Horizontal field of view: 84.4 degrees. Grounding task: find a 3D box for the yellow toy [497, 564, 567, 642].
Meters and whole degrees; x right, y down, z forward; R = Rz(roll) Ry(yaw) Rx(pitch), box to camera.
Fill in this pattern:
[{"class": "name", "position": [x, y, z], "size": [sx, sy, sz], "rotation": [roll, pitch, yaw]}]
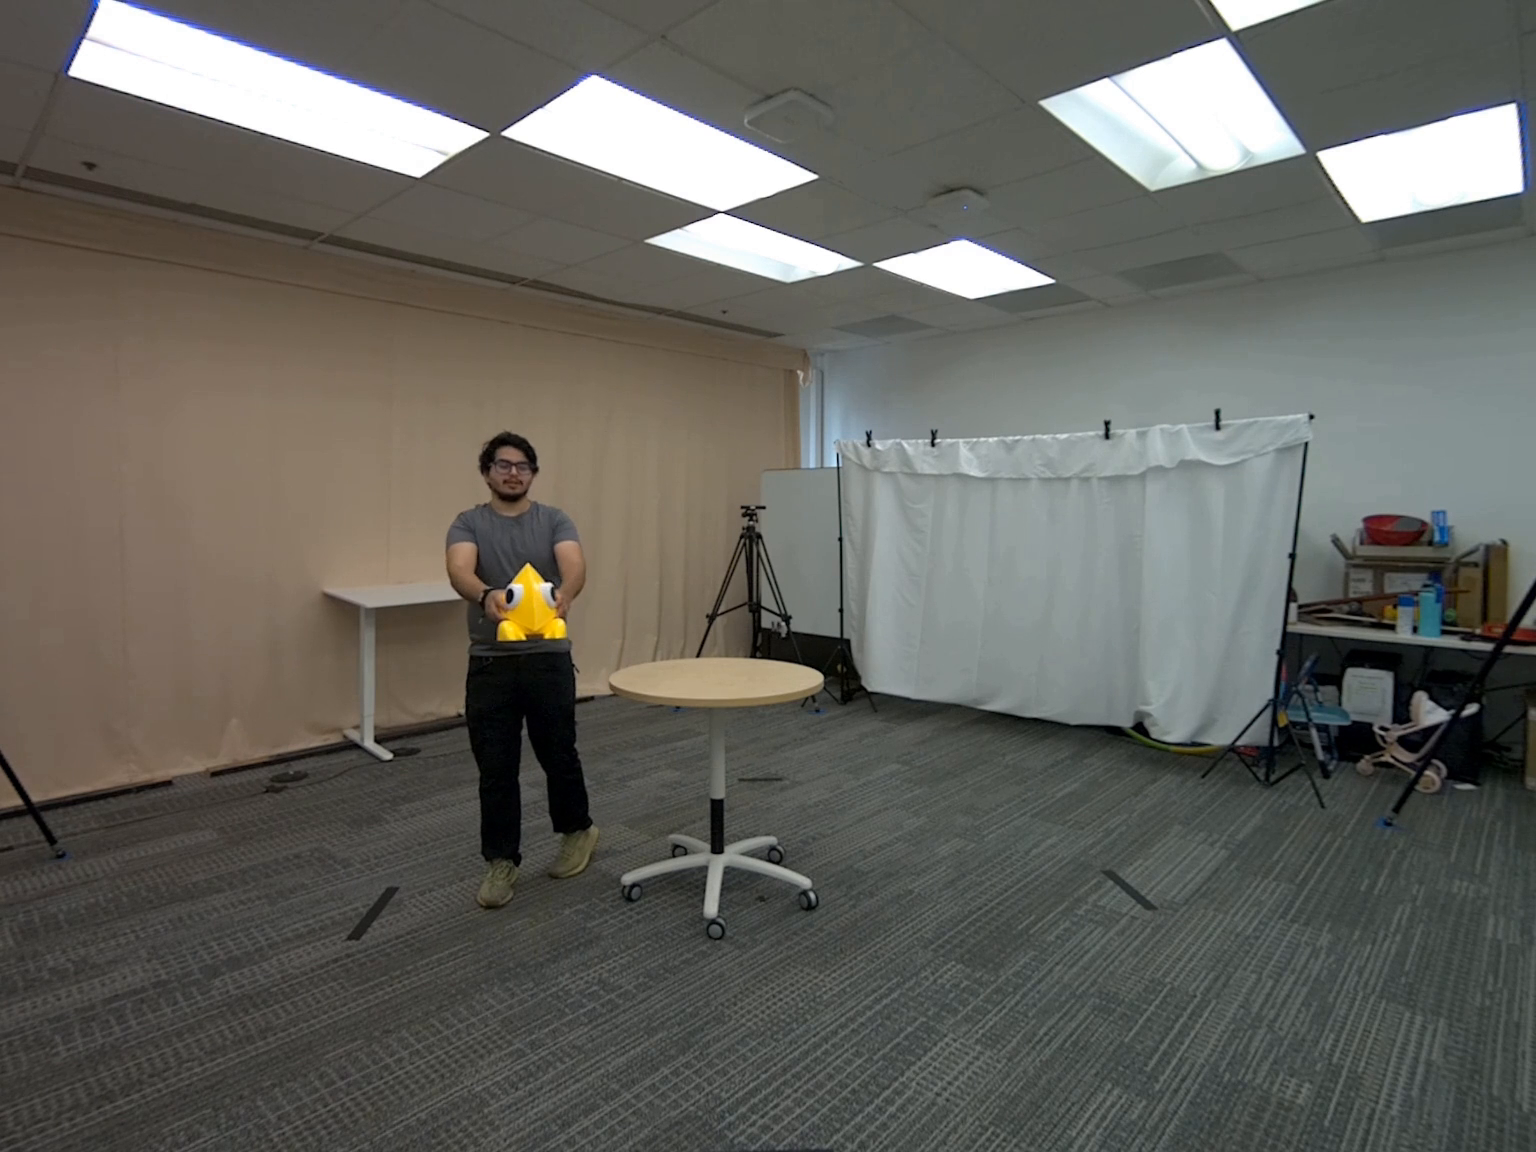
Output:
[{"class": "yellow toy", "position": [-0.707, 0.075, 2.519], "size": [0.200, 0.231, 0.196], "rotation": [-1, -3, -21]}]
